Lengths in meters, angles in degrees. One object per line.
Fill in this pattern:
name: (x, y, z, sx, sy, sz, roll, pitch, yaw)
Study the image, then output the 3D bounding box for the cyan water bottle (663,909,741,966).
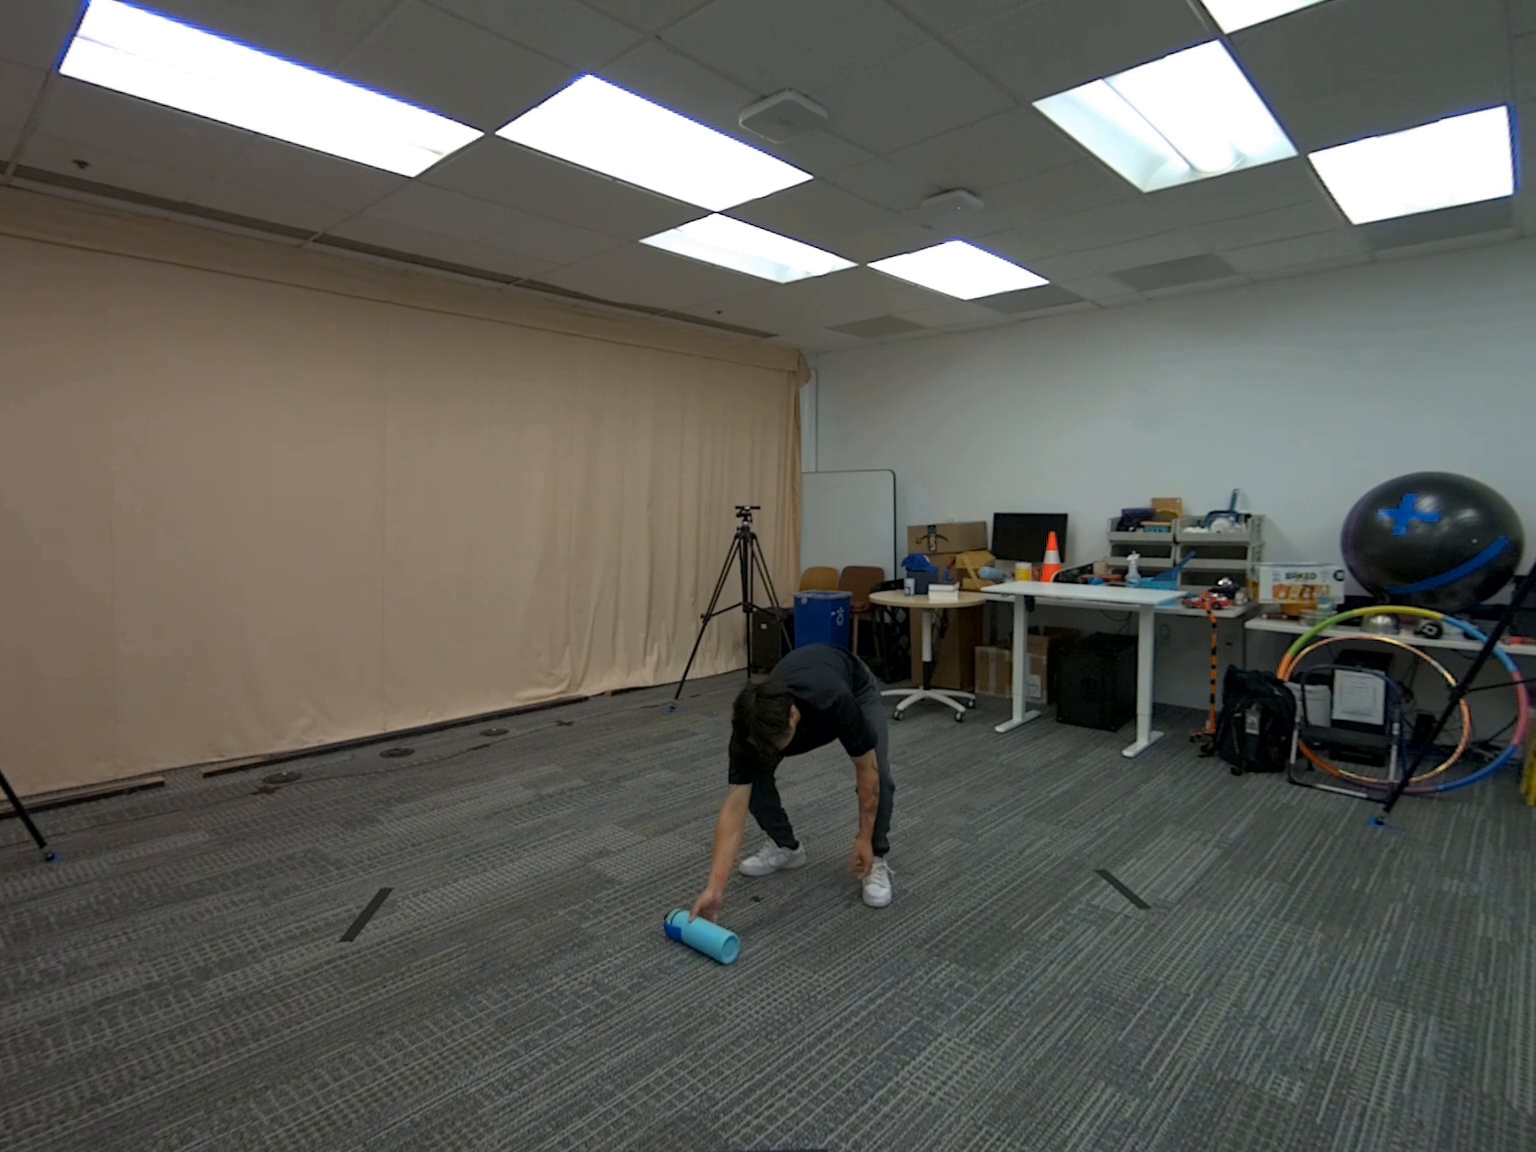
cyan water bottle: (-0.213, 1.130, 2.657, 0.089, 0.092, 0.293, -3, 5, -44)
